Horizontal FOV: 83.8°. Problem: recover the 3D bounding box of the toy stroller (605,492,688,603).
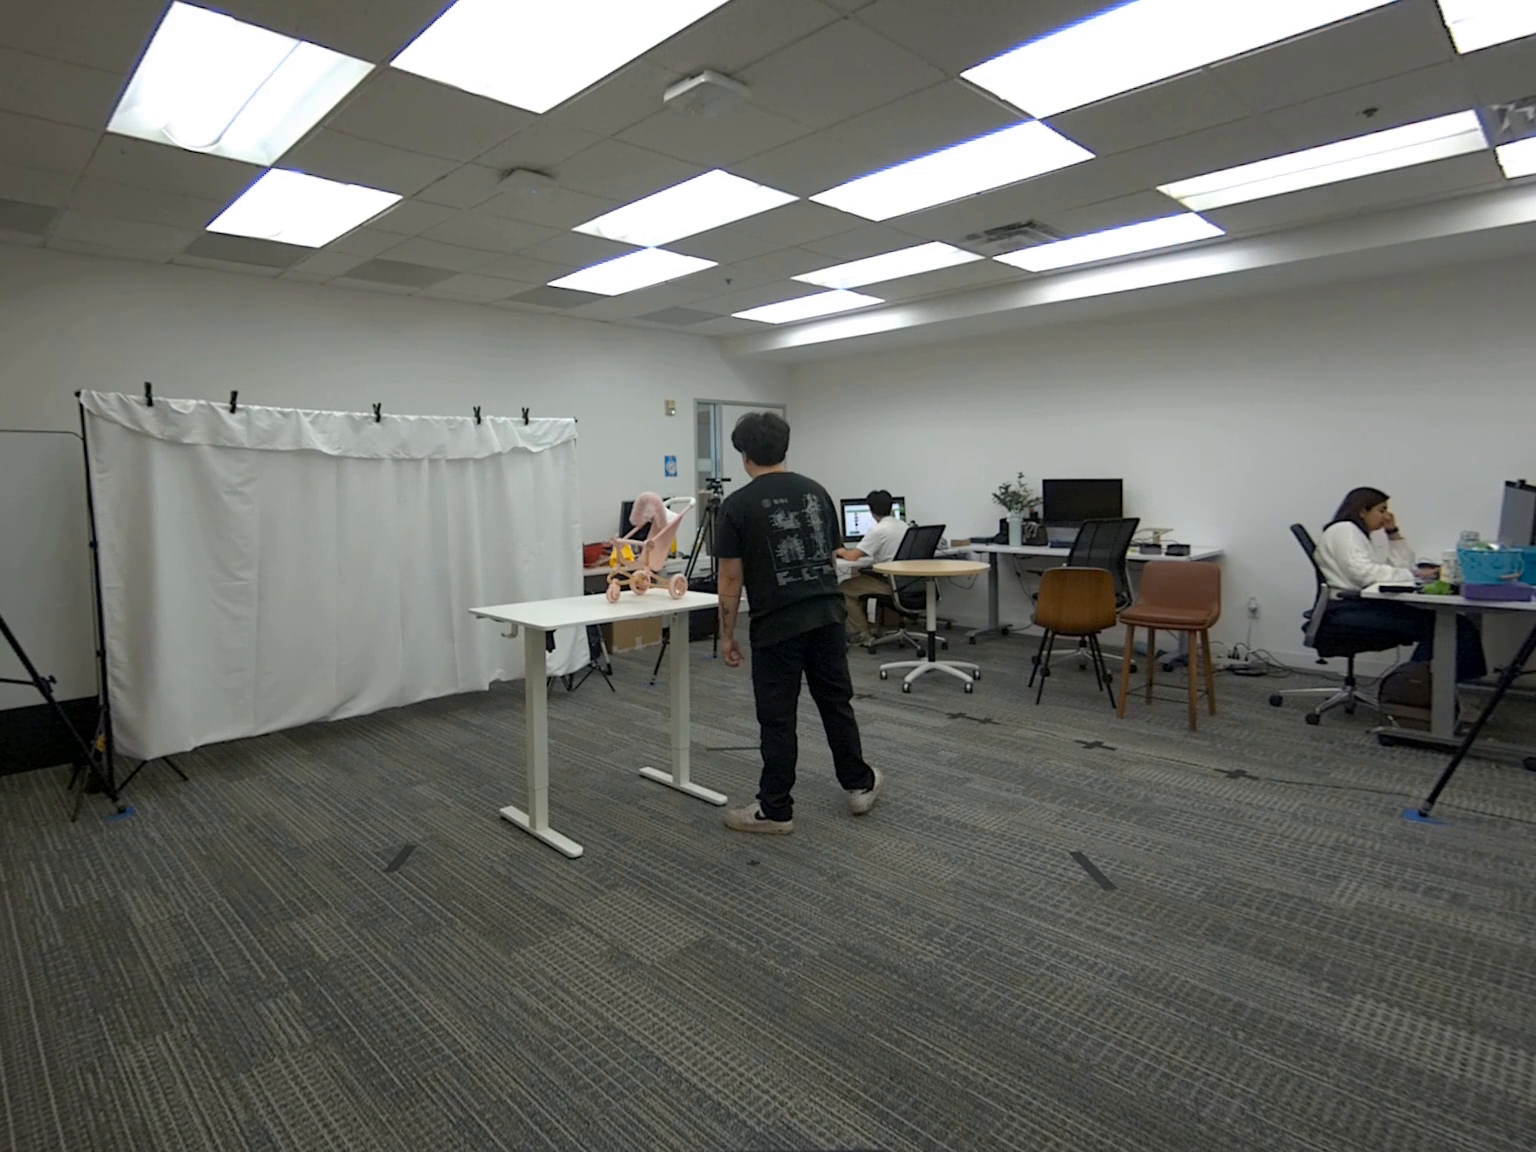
[{"bbox_3d":[-0.532,-0.128,3.741,0.329,0.538,0.290,16,-9,-43],"label":"toy stroller"}]
